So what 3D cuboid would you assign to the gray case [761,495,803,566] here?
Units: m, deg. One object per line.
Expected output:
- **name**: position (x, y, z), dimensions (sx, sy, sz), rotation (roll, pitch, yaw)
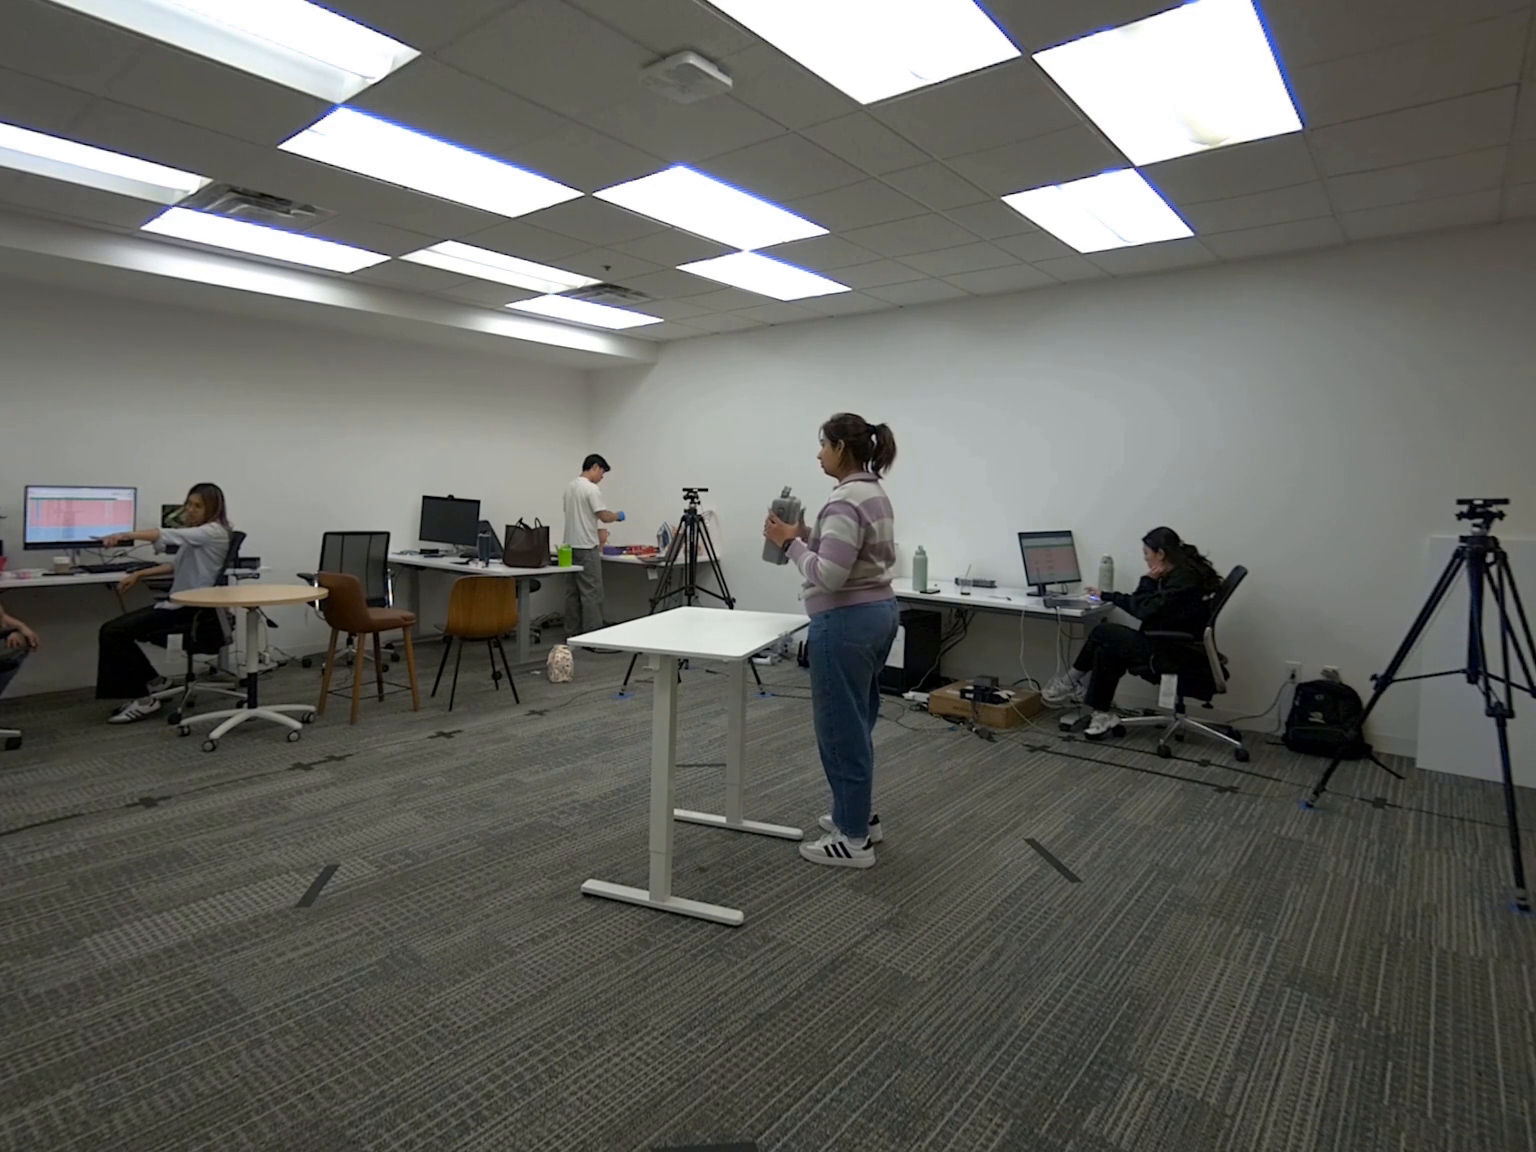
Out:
- **gray case**: position (0.045, -0.184, 3.325), dimensions (0.105, 0.259, 0.257), rotation (7, 7, 2)
